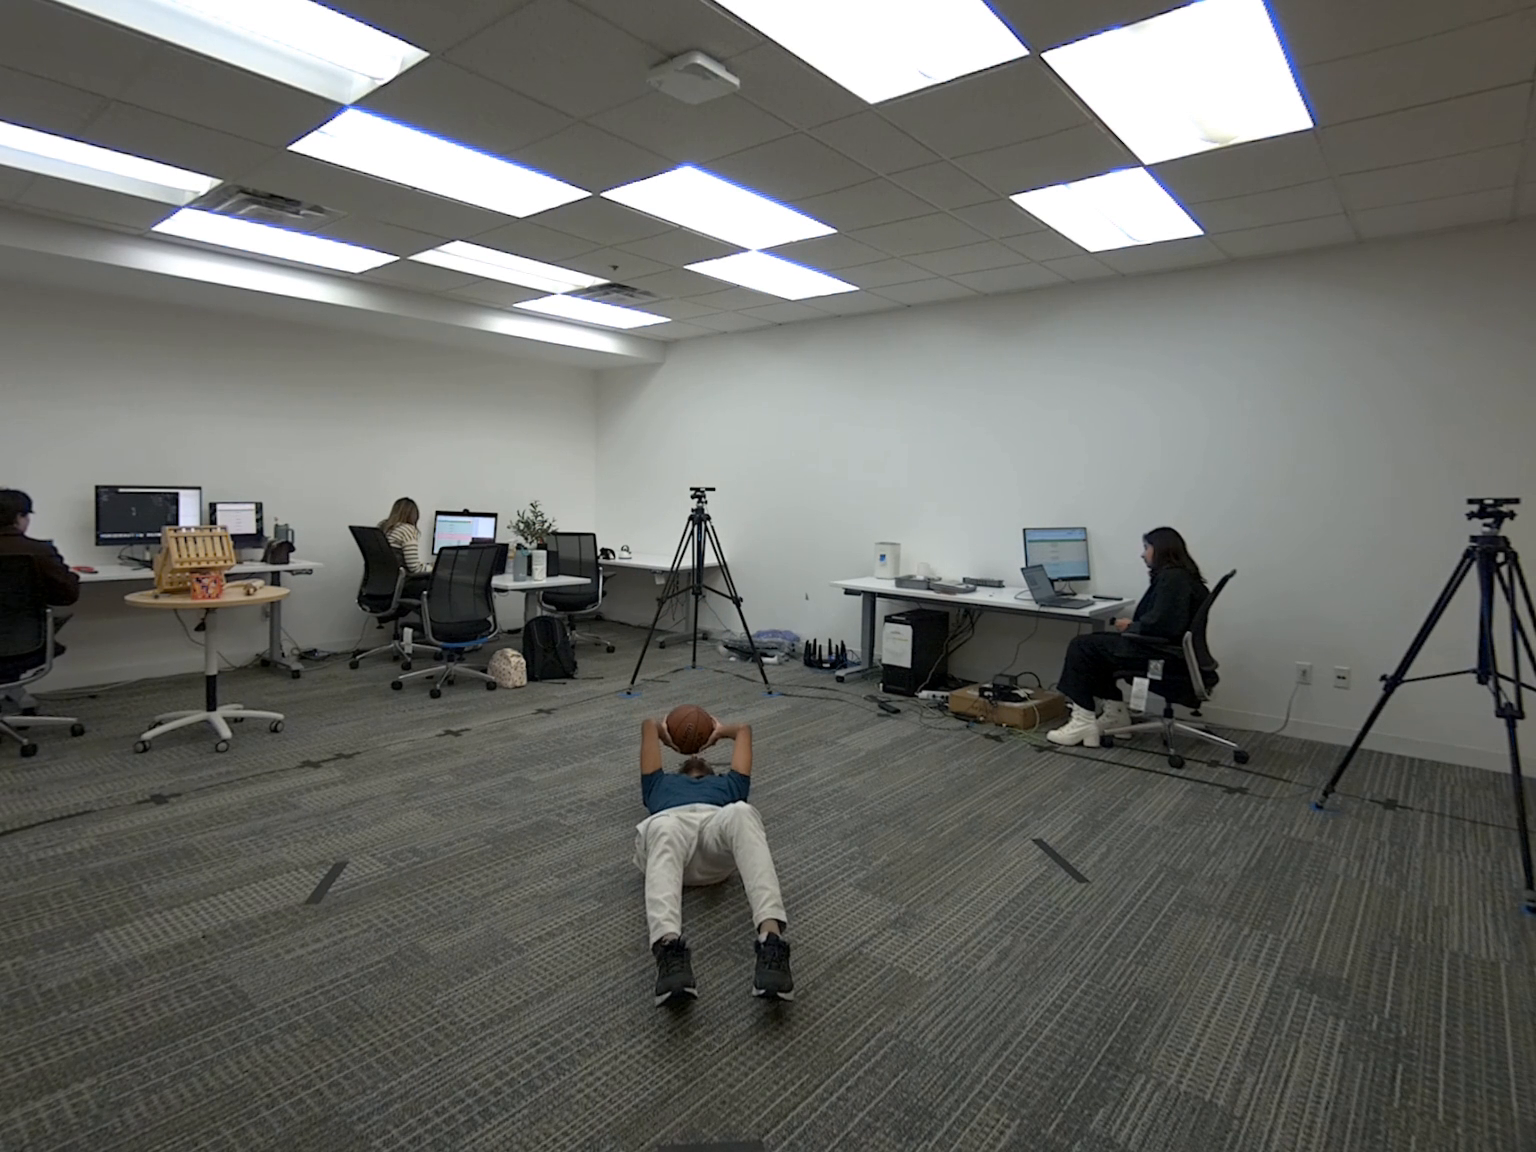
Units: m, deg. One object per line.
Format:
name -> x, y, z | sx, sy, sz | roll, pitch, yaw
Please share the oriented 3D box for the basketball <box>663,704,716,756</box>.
basketball -> -0.394, 0.736, 4.080 | 0.235, 0.235, 0.237 | 1, 4, -2
